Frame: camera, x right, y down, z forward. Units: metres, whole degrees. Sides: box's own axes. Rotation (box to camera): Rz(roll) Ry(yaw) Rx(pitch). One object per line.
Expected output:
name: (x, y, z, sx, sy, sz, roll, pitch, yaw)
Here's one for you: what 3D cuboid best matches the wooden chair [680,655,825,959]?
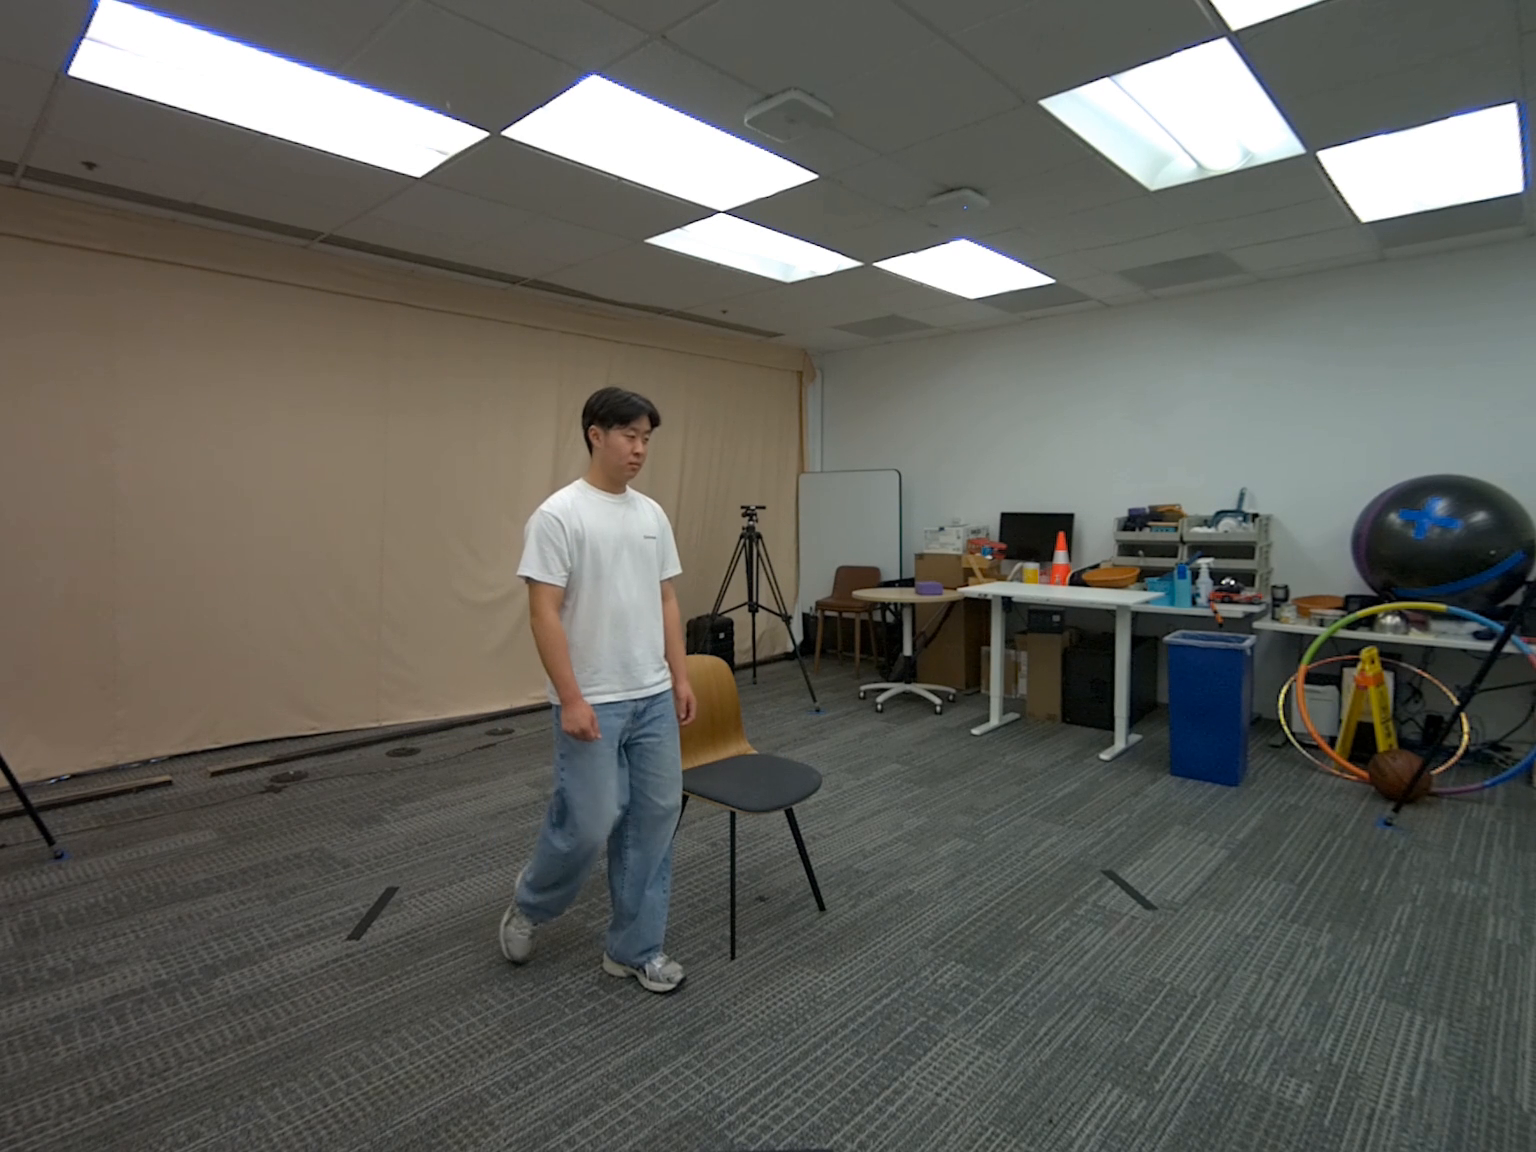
wooden chair: (-0.111, 0.728, 2.863, 0.539, 0.877, 0.463, -3, 0, 44)
